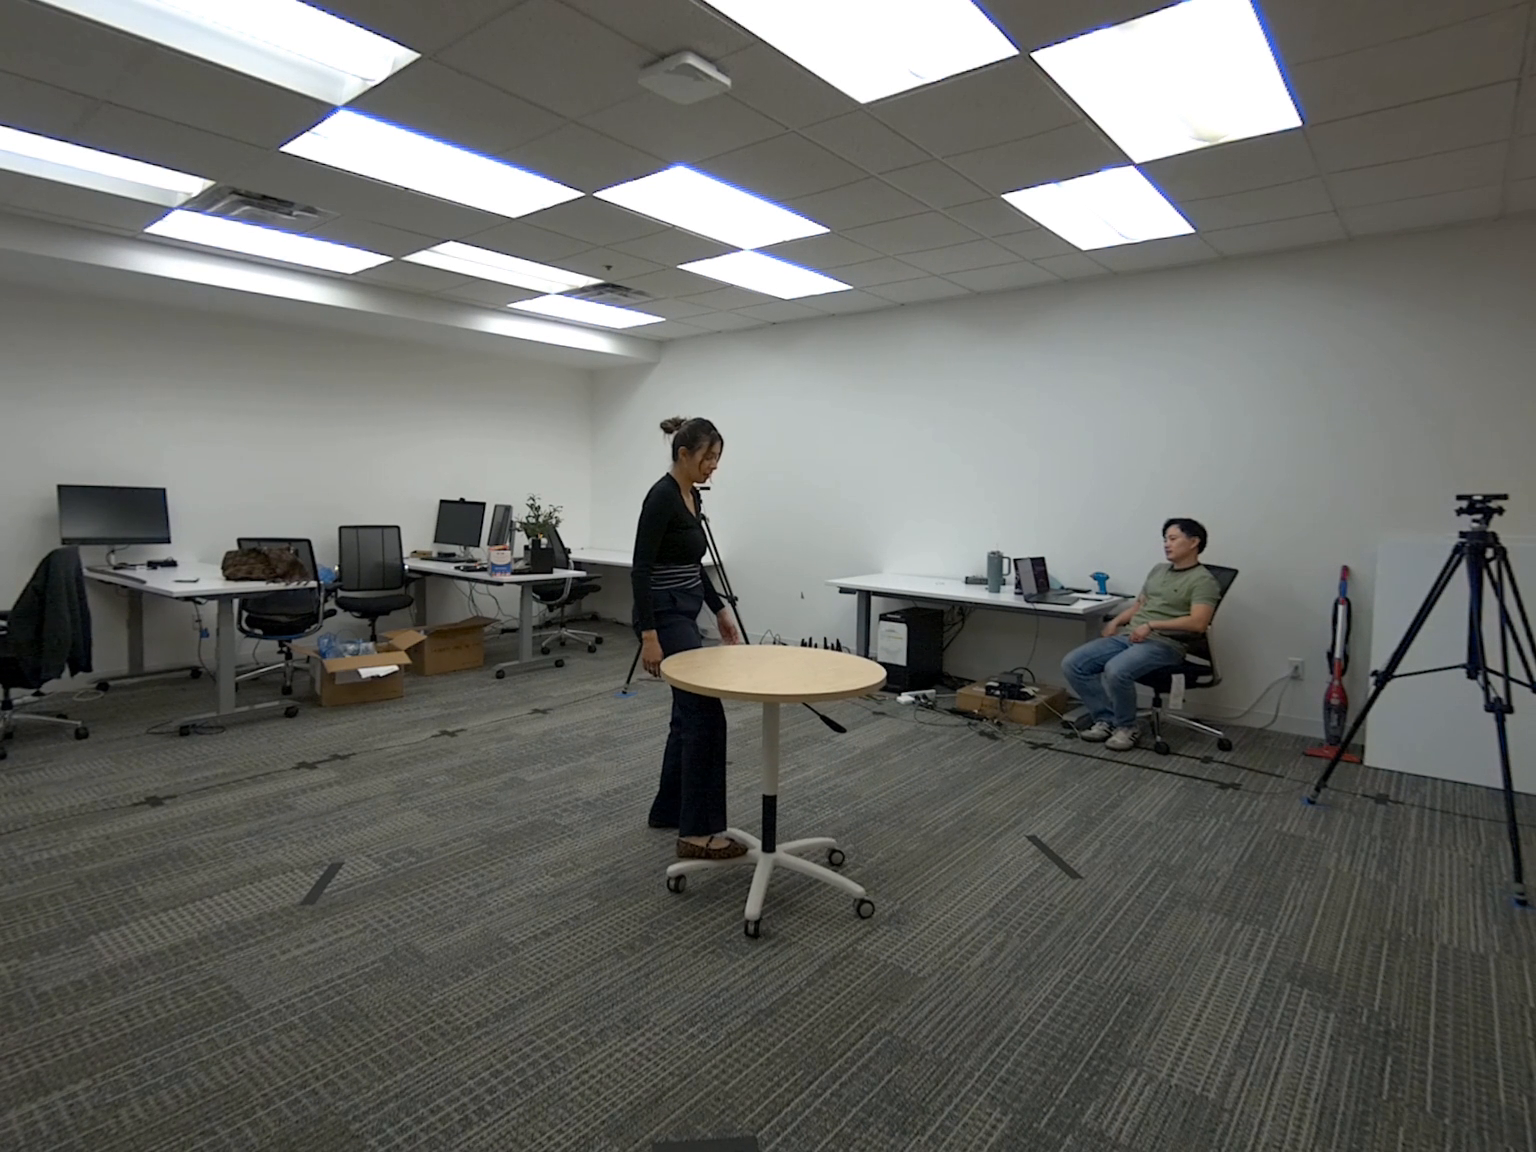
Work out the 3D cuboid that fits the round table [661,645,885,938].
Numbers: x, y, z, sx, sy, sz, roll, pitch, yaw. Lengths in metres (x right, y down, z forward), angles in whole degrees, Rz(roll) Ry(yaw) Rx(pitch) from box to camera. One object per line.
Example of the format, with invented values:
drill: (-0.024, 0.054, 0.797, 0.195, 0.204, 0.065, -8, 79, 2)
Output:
round table: (0.010, 0.699, 2.929, 0.763, 0.791, 0.768, 1, 5, -2)
